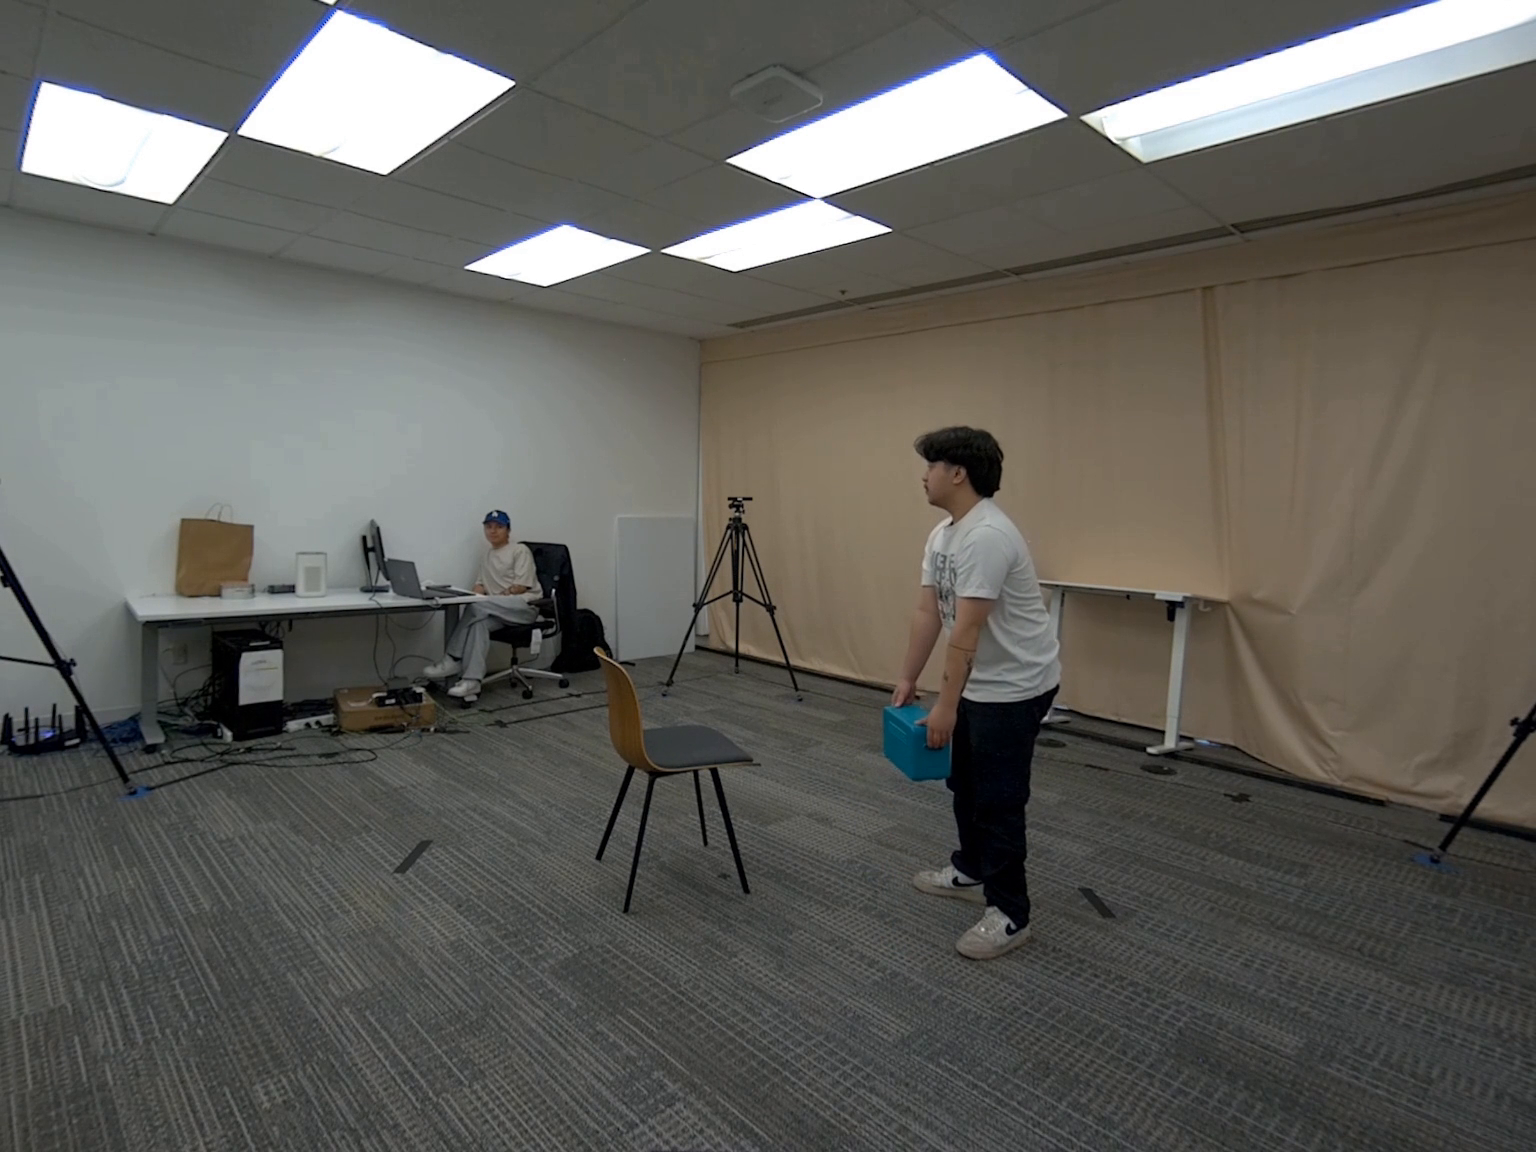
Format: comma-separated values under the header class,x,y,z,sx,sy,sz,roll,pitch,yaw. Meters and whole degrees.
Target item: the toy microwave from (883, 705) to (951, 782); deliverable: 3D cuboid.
class,x,y,z,sx,sy,sz,roll,pitch,yaw
toy microwave,0.487,0.548,2.783,0.151,0.183,0.289,-1,4,-9
